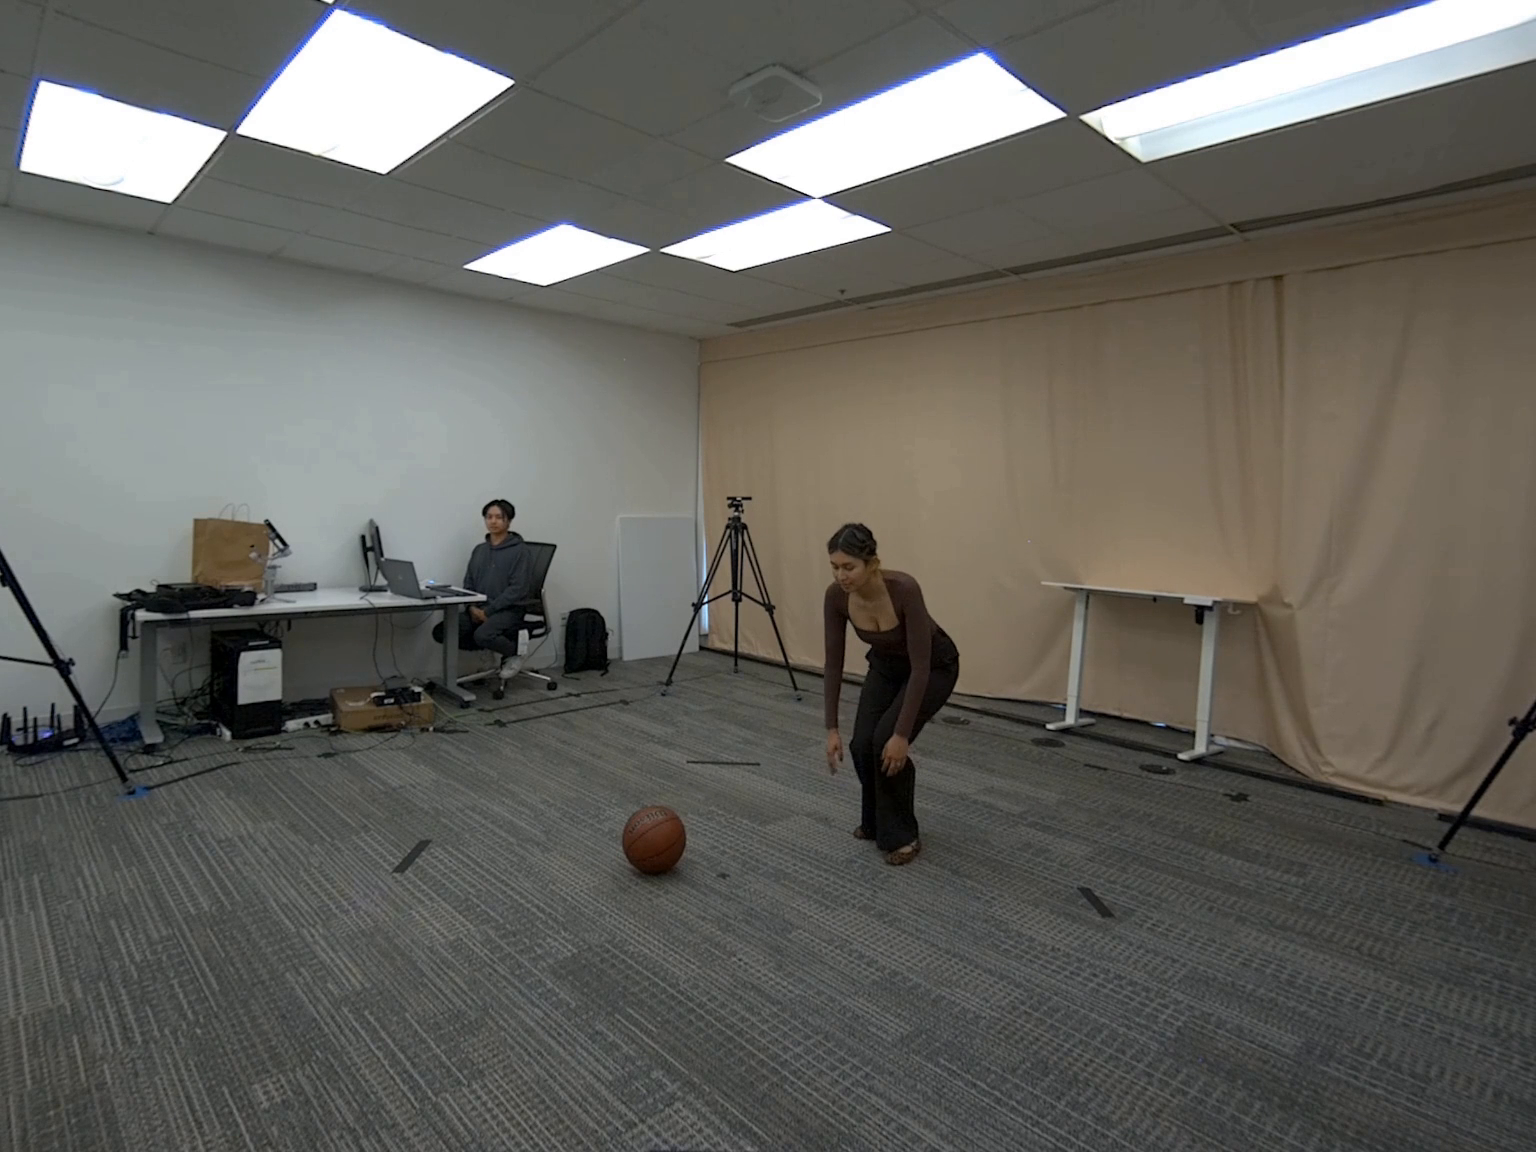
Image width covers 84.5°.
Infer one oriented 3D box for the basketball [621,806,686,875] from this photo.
[{"bbox_3d":[-0.427,0.975,3.126,0.236,0.235,0.237,1,4,-1],"label":"basketball"}]
